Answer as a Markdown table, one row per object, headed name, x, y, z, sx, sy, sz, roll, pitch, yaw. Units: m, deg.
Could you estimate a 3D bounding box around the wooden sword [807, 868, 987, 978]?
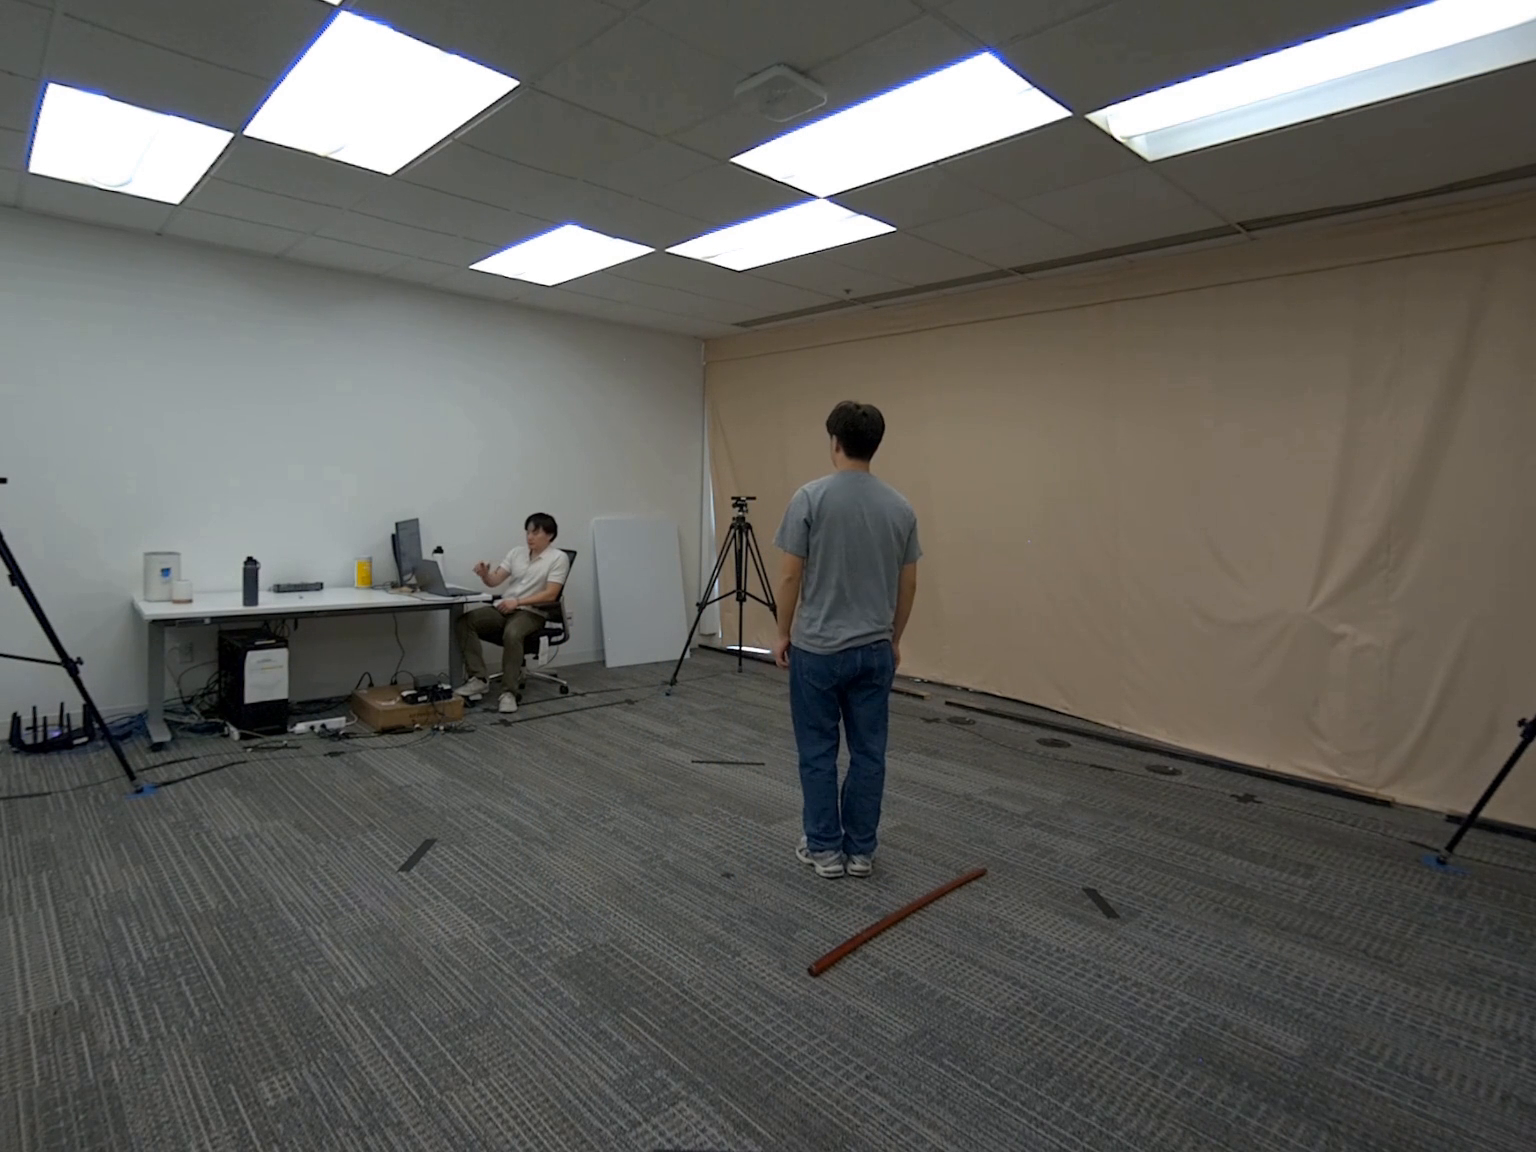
| name | x | y | z | sx | sy | sz | roll | pitch | yaw |
| --- | --- | --- | --- | --- | --- | --- | --- | --- | --- |
| wooden sword | 0.454 | 1.120 | 2.843 | 0.052 | 0.024 | 1.002 | 7 | 8 | 43 |
